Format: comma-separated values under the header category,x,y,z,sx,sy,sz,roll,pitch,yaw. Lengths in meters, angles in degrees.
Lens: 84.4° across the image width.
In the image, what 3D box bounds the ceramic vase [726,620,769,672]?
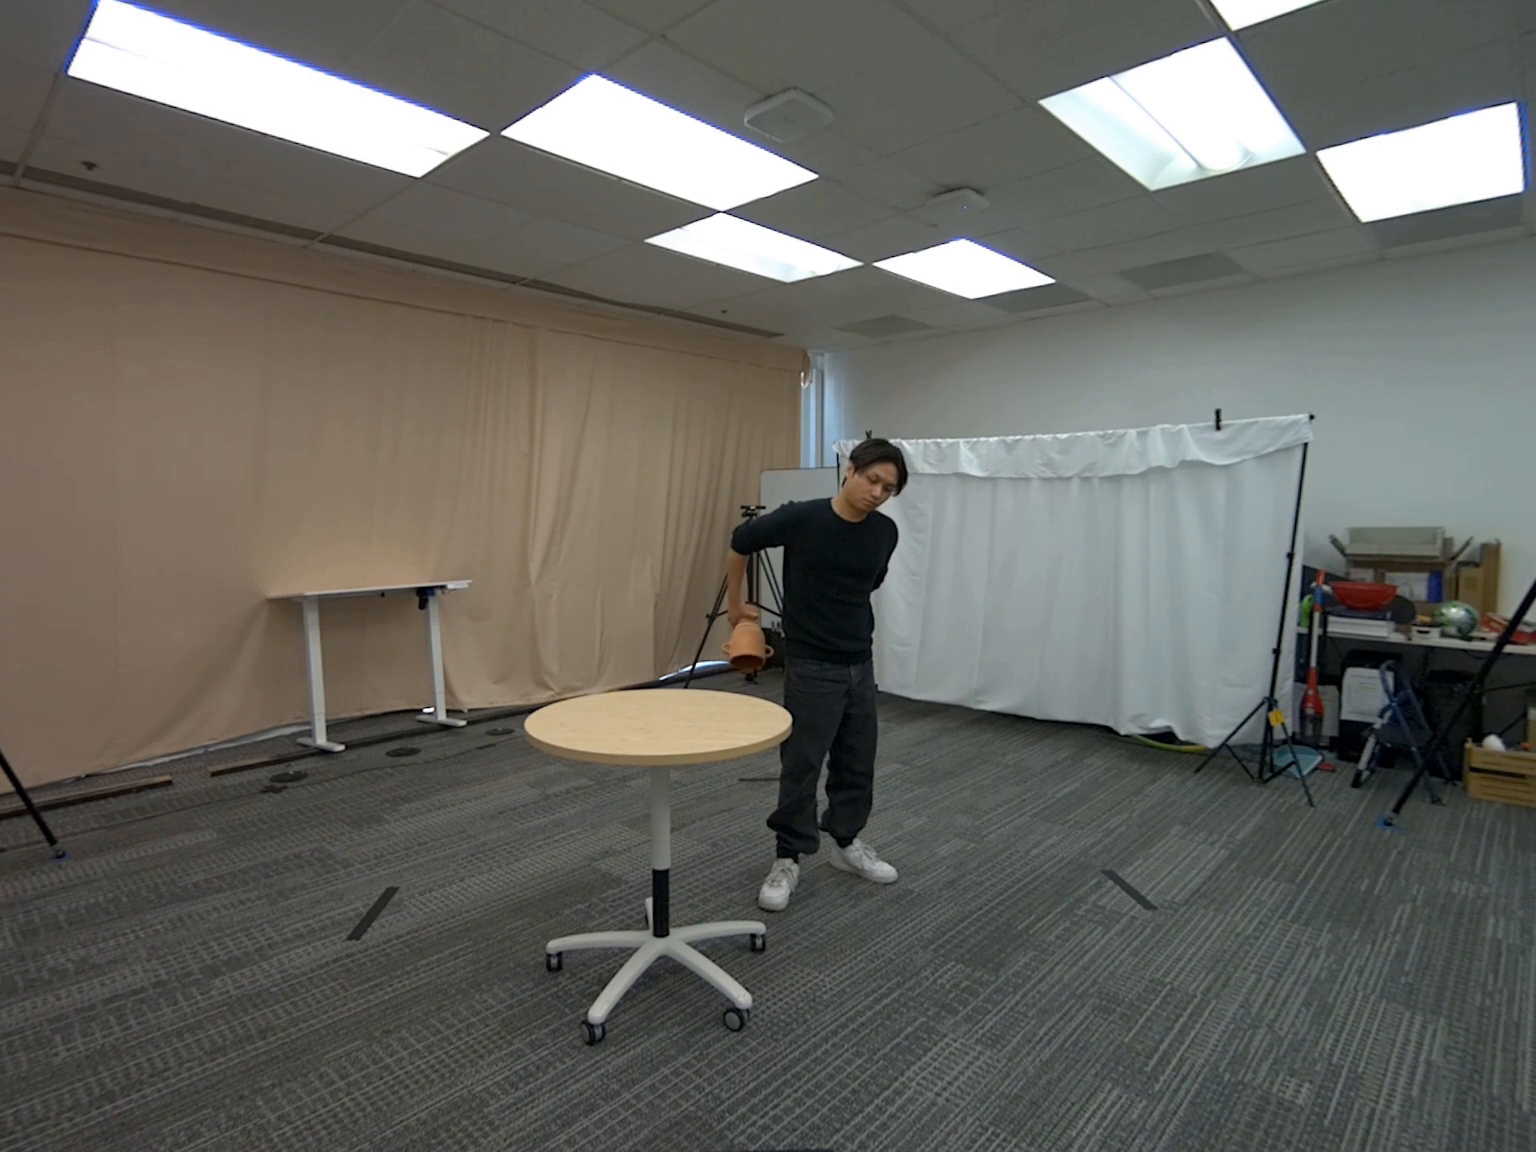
category,x,y,z,sx,sy,sz,roll,pitch,yaw
ceramic vase,-0.075,0.229,3.199,0.137,0.223,0.153,-25,-42,33
